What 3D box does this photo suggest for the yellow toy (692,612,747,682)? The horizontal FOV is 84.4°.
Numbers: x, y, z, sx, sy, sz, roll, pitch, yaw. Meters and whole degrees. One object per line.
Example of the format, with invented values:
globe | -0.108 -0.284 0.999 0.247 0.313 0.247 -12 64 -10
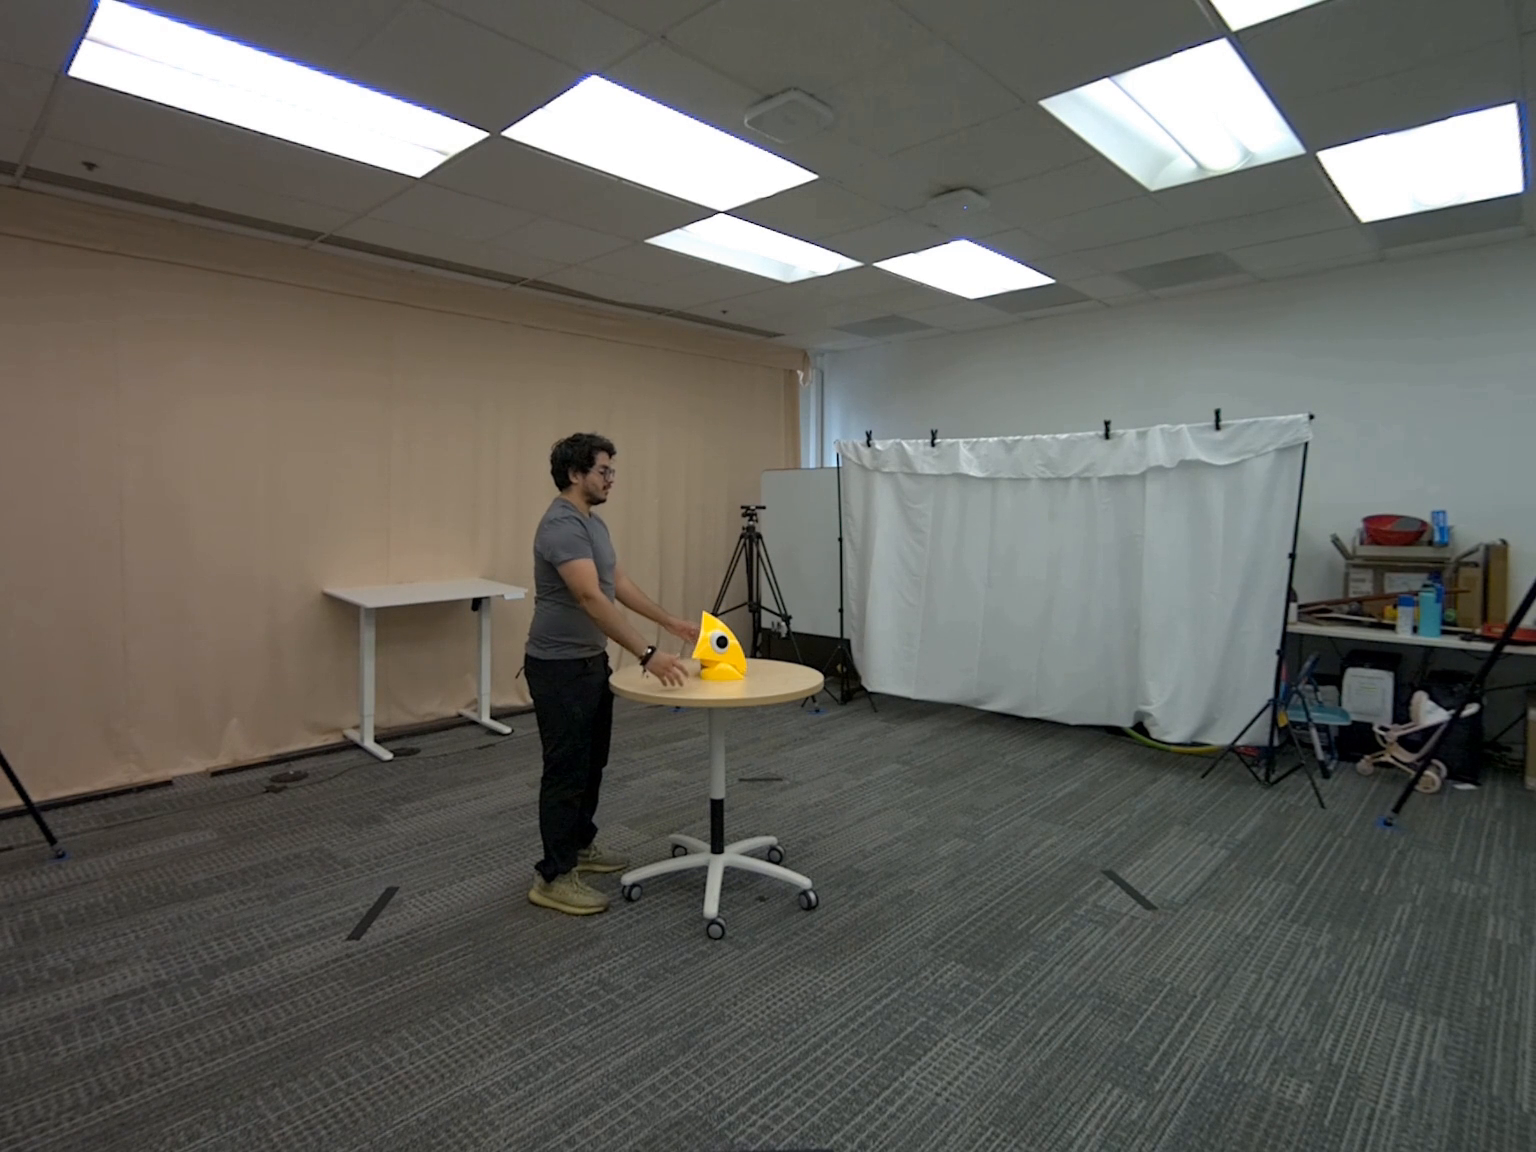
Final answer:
yellow toy | -0.168 0.244 3.027 0.194 0.230 0.204 1 4 3
